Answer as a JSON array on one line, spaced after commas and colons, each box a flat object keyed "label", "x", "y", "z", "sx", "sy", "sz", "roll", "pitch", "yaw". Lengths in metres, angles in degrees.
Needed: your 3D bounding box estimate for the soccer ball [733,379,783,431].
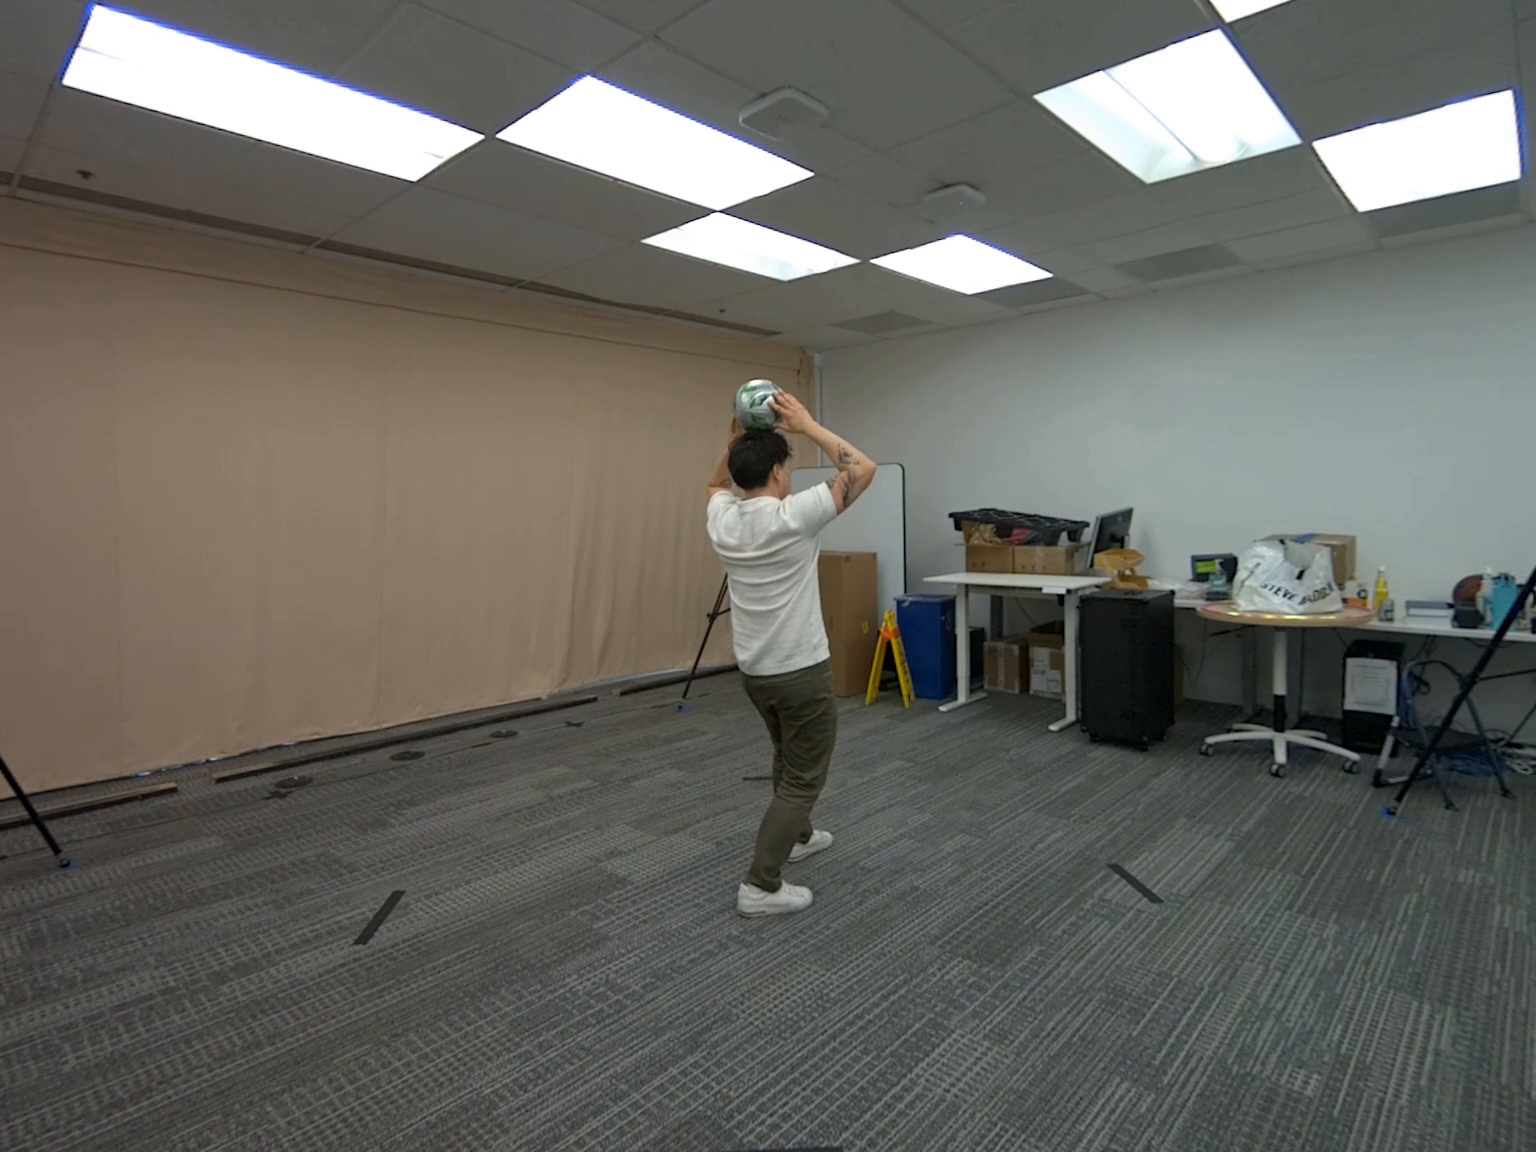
[{"label": "soccer ball", "x": -0.025, "y": -0.574, "z": 2.887, "sx": 0.187, "sy": 0.187, "sz": 0.188, "roll": -1, "pitch": 4, "yaw": -2}]
